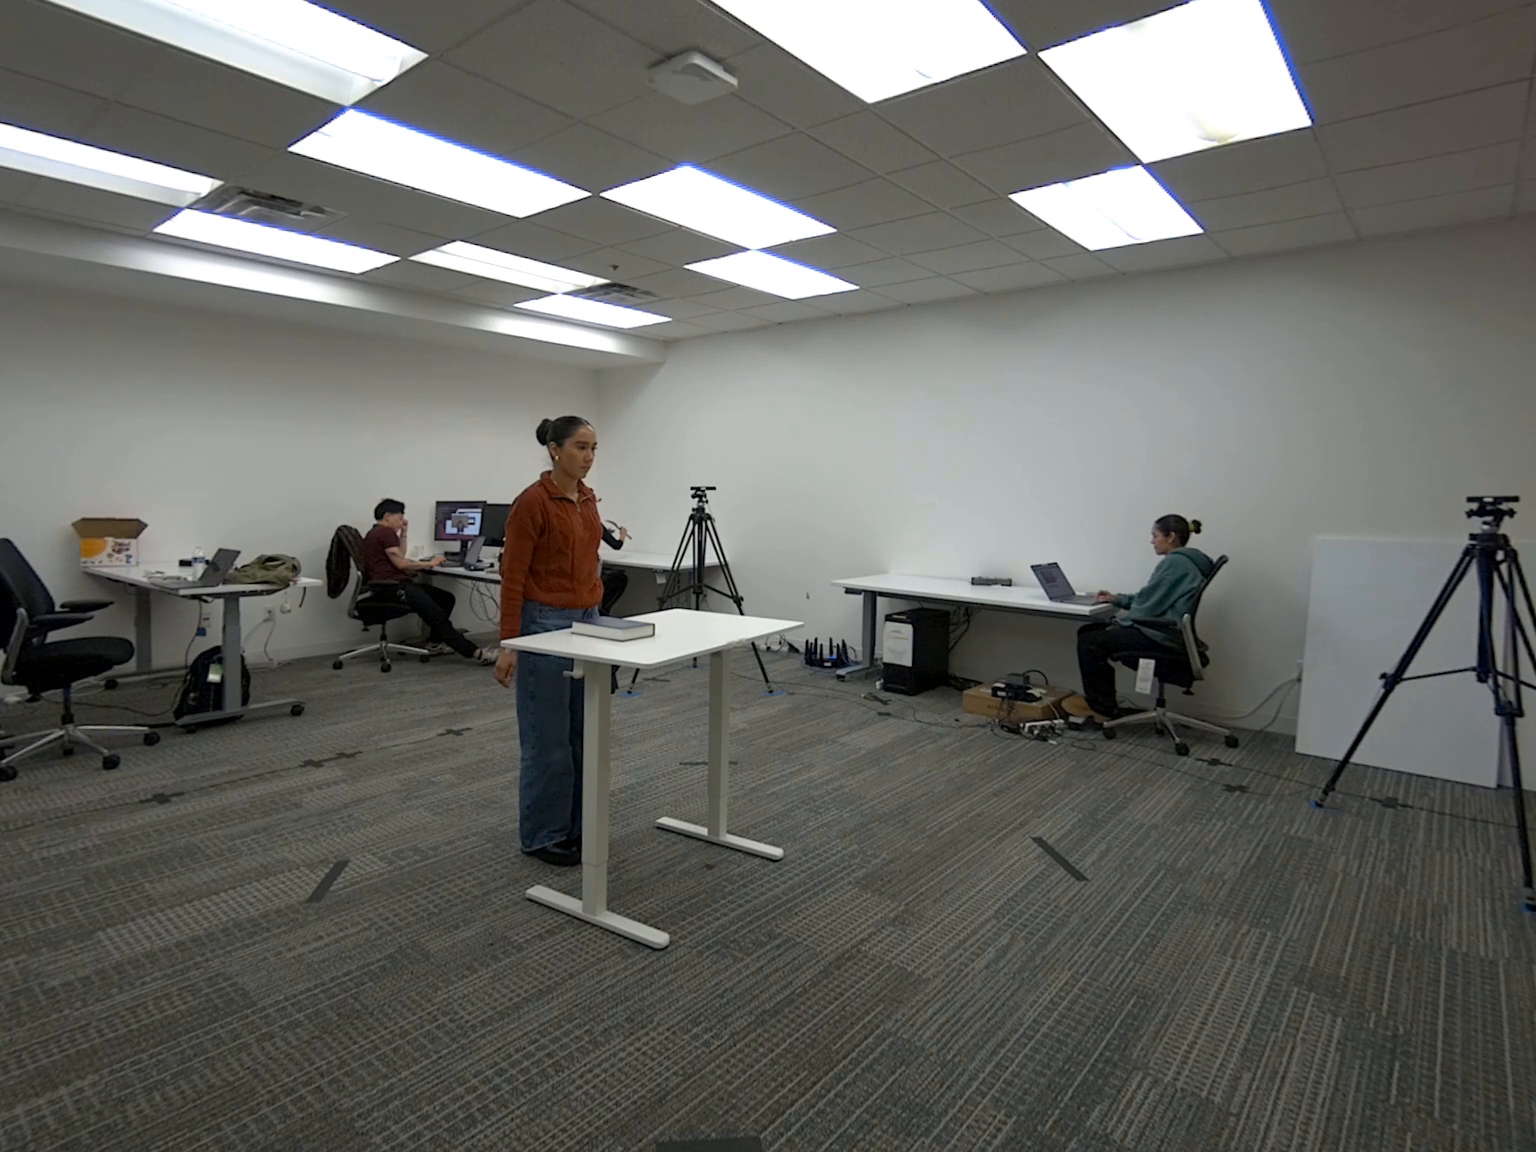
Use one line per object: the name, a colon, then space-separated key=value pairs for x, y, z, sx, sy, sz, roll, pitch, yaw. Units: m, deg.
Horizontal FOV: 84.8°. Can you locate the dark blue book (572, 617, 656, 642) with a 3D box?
dark blue book: x=-0.544 y=0.179 z=2.896 sx=0.253 sy=0.045 sz=0.159 roll=5 pitch=6 yaw=35
